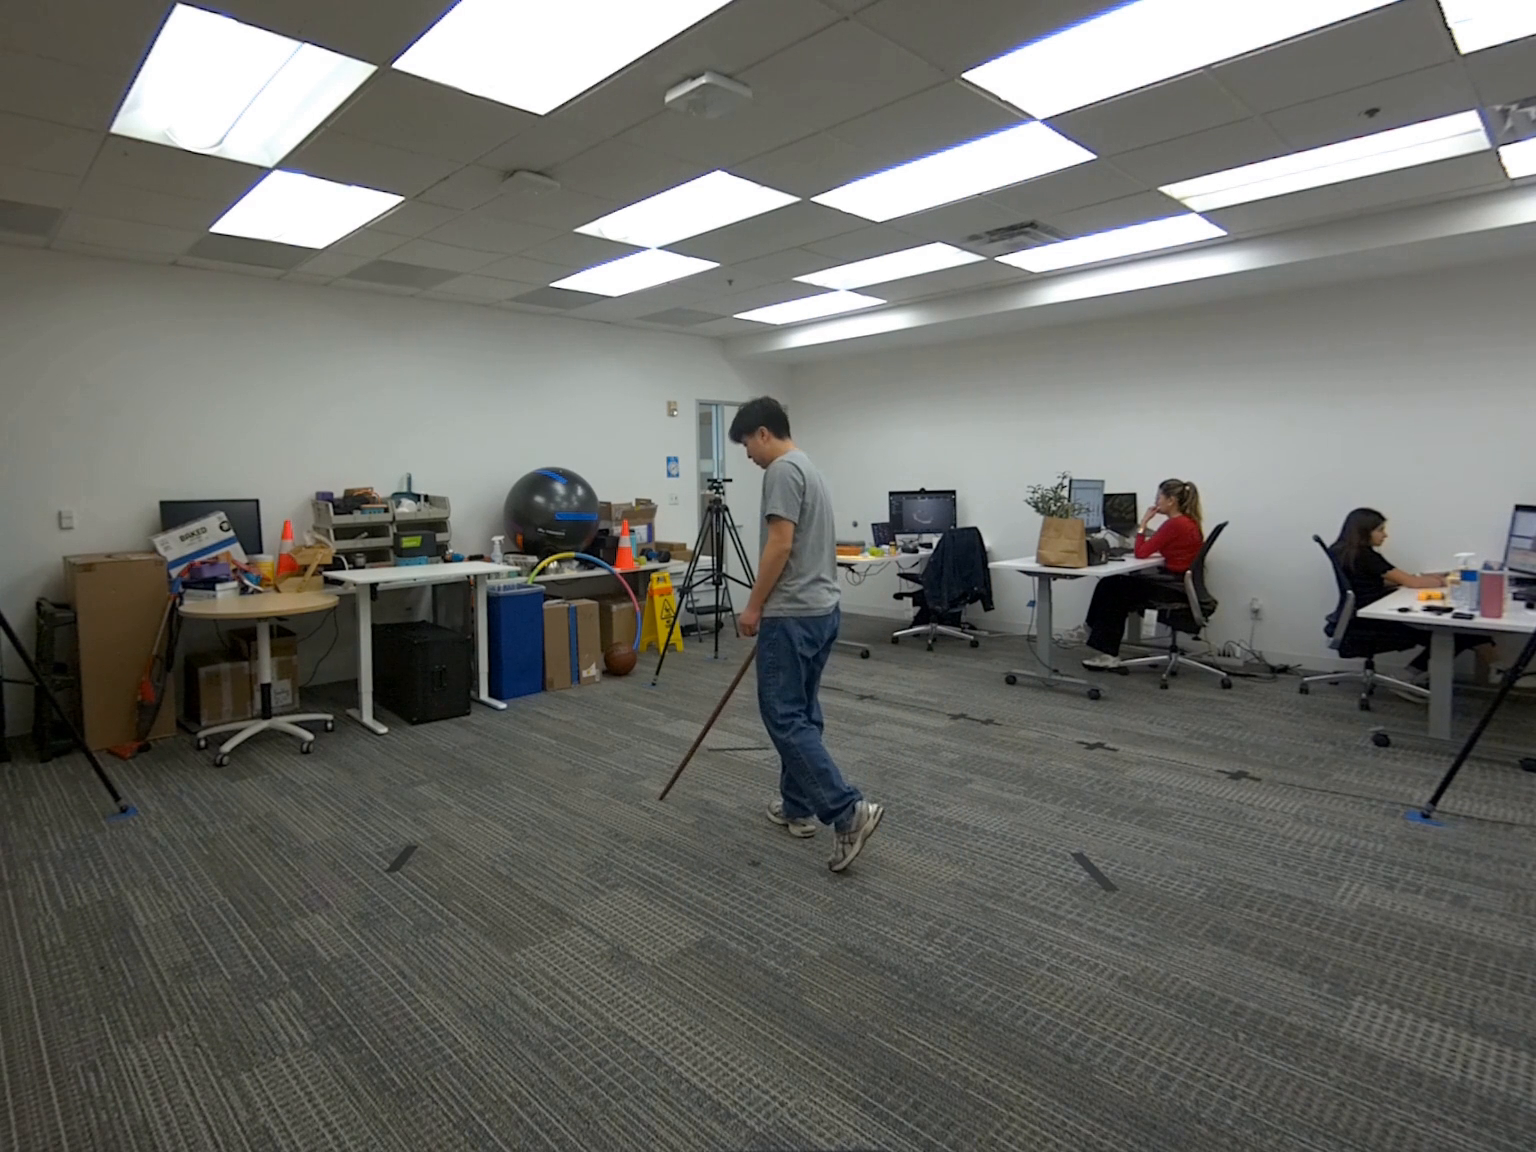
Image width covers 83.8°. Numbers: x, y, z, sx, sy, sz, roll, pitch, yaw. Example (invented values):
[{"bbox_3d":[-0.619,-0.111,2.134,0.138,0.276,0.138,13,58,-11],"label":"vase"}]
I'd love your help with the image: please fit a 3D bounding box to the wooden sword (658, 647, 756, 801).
[{"bbox_3d":[-0.197,0.562,3.777,0.053,1.026,0.023,28,-6,47],"label":"wooden sword"}]
